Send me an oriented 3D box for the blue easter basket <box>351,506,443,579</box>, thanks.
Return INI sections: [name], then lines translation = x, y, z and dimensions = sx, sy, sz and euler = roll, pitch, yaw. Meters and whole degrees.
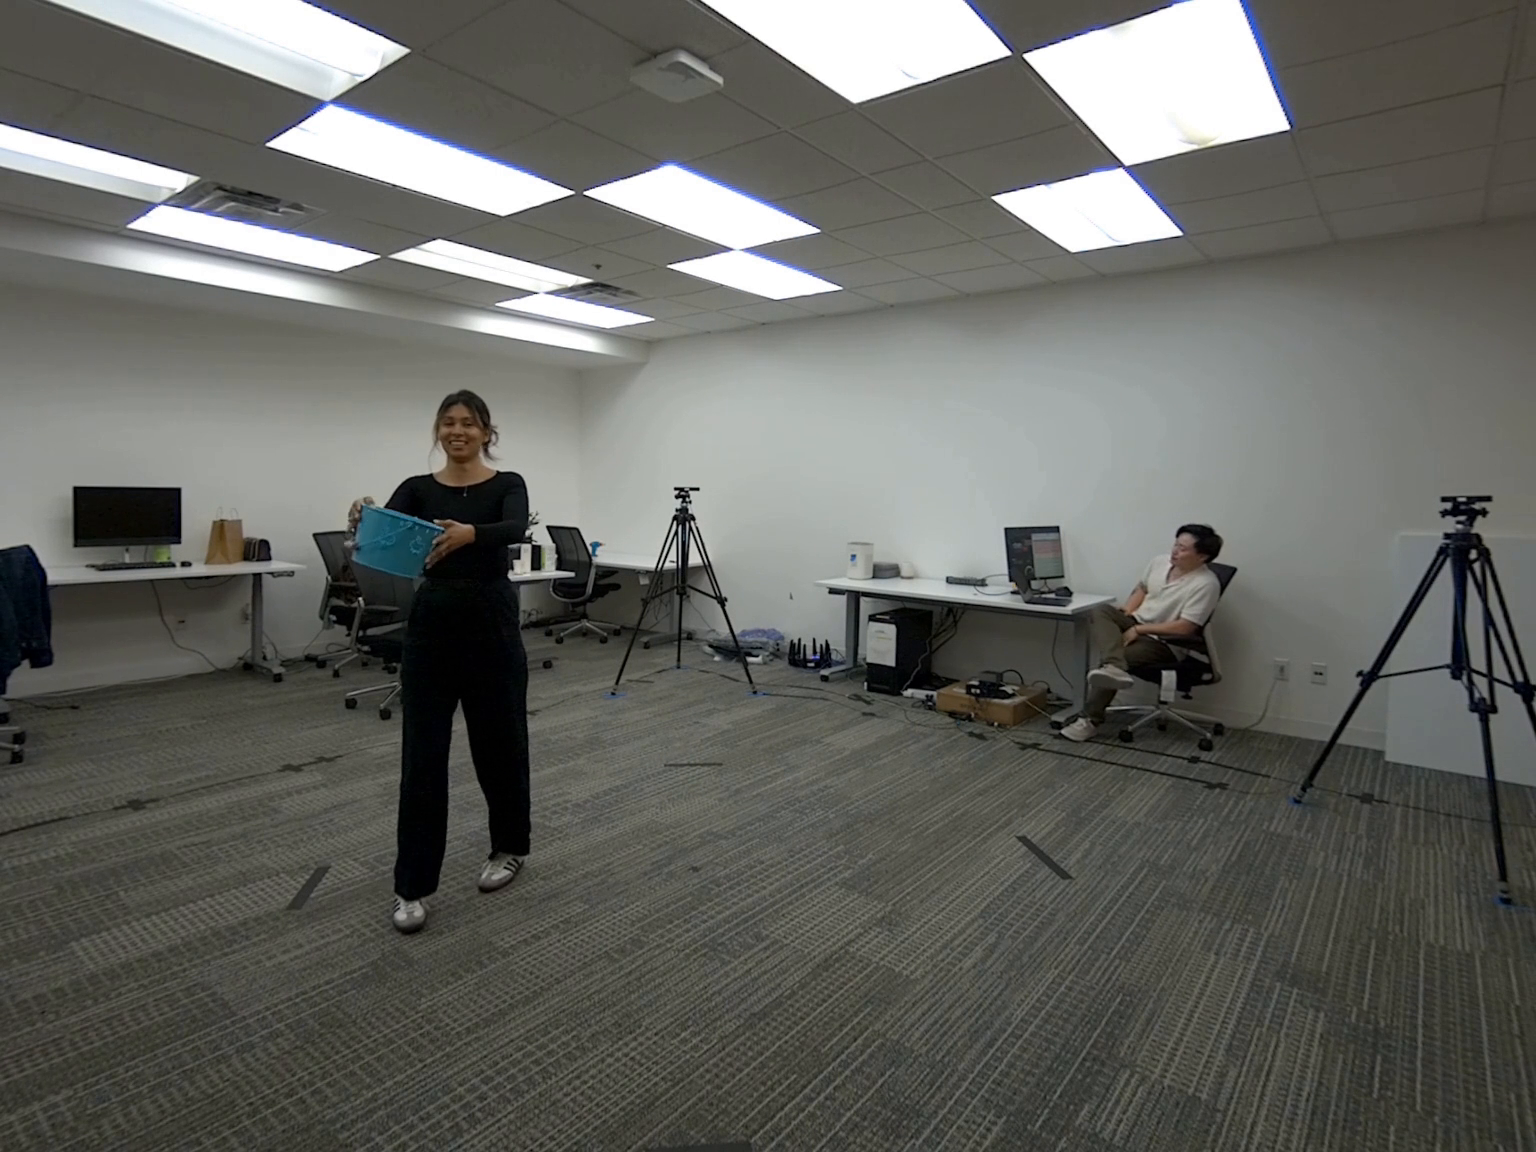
[blue easter basket]
translation = -1.043, -0.099, 2.341
dimensions = 0.244, 0.156, 0.243
euler = 18, -2, -1
